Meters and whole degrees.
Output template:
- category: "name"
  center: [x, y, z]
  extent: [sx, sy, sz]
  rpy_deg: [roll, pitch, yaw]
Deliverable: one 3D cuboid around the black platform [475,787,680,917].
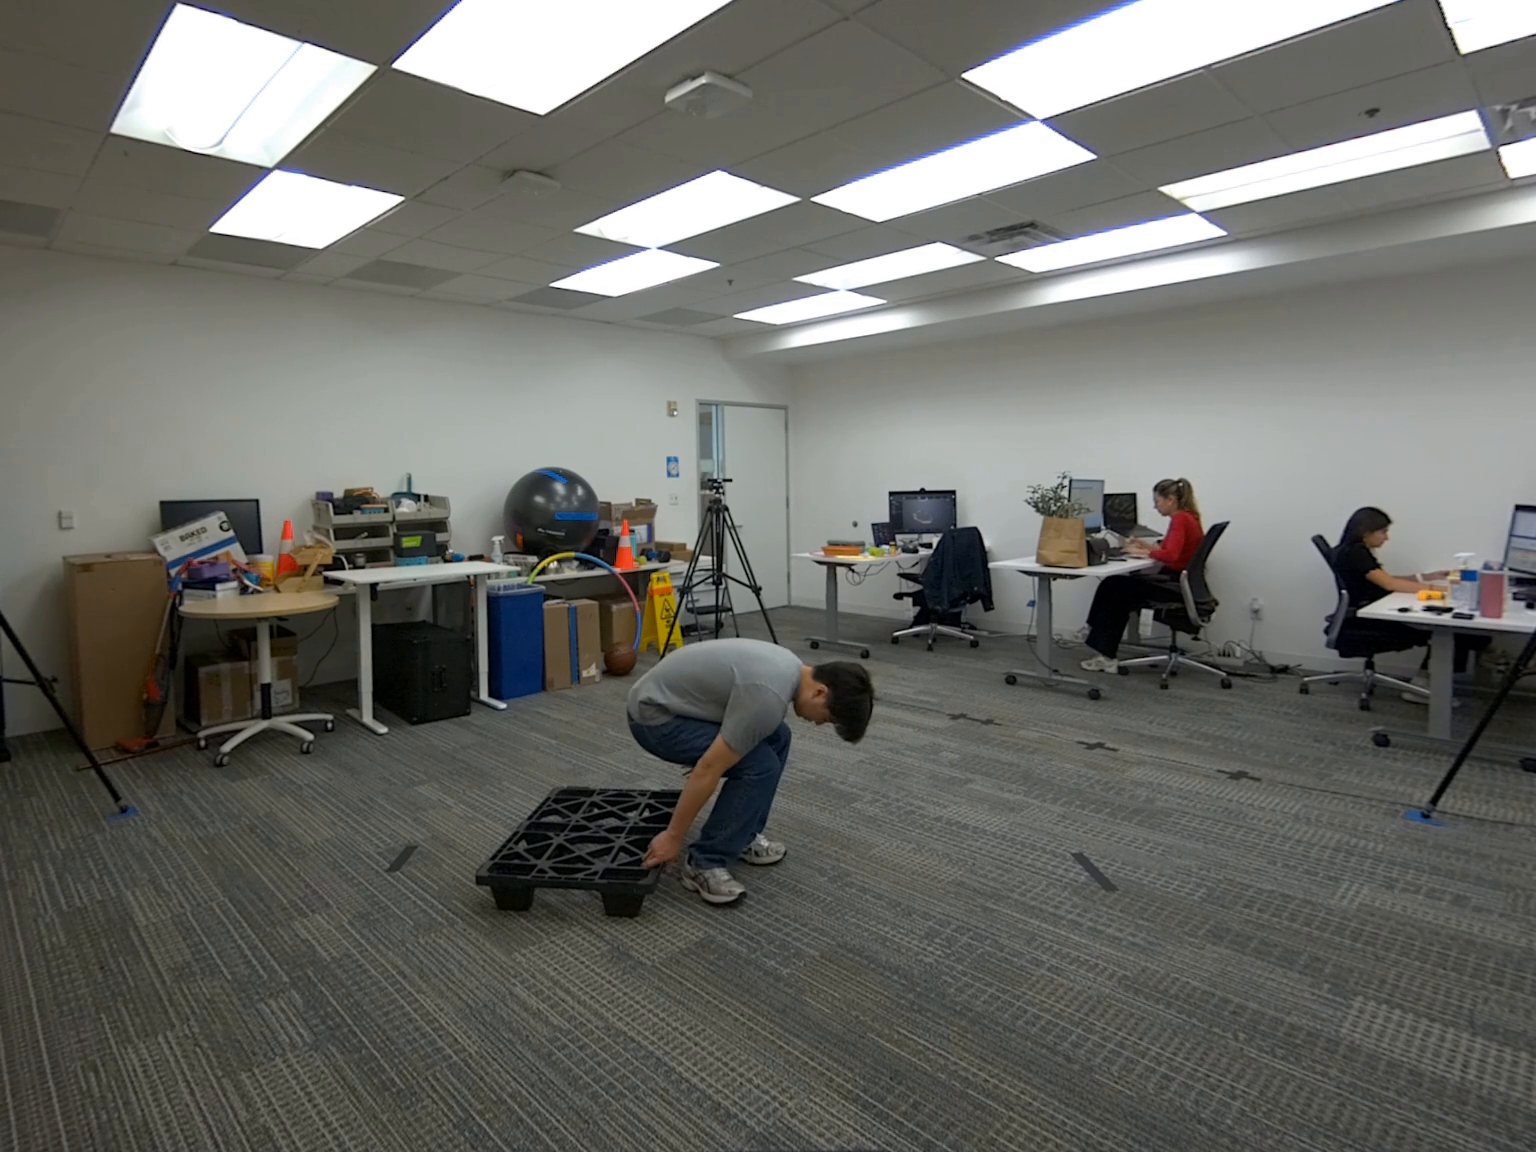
- category: "black platform"
  center: [-0.614, 0.981, 3.127]
  extent: [0.610, 0.142, 0.804]
  rpy_deg: [0, 7, 6]
